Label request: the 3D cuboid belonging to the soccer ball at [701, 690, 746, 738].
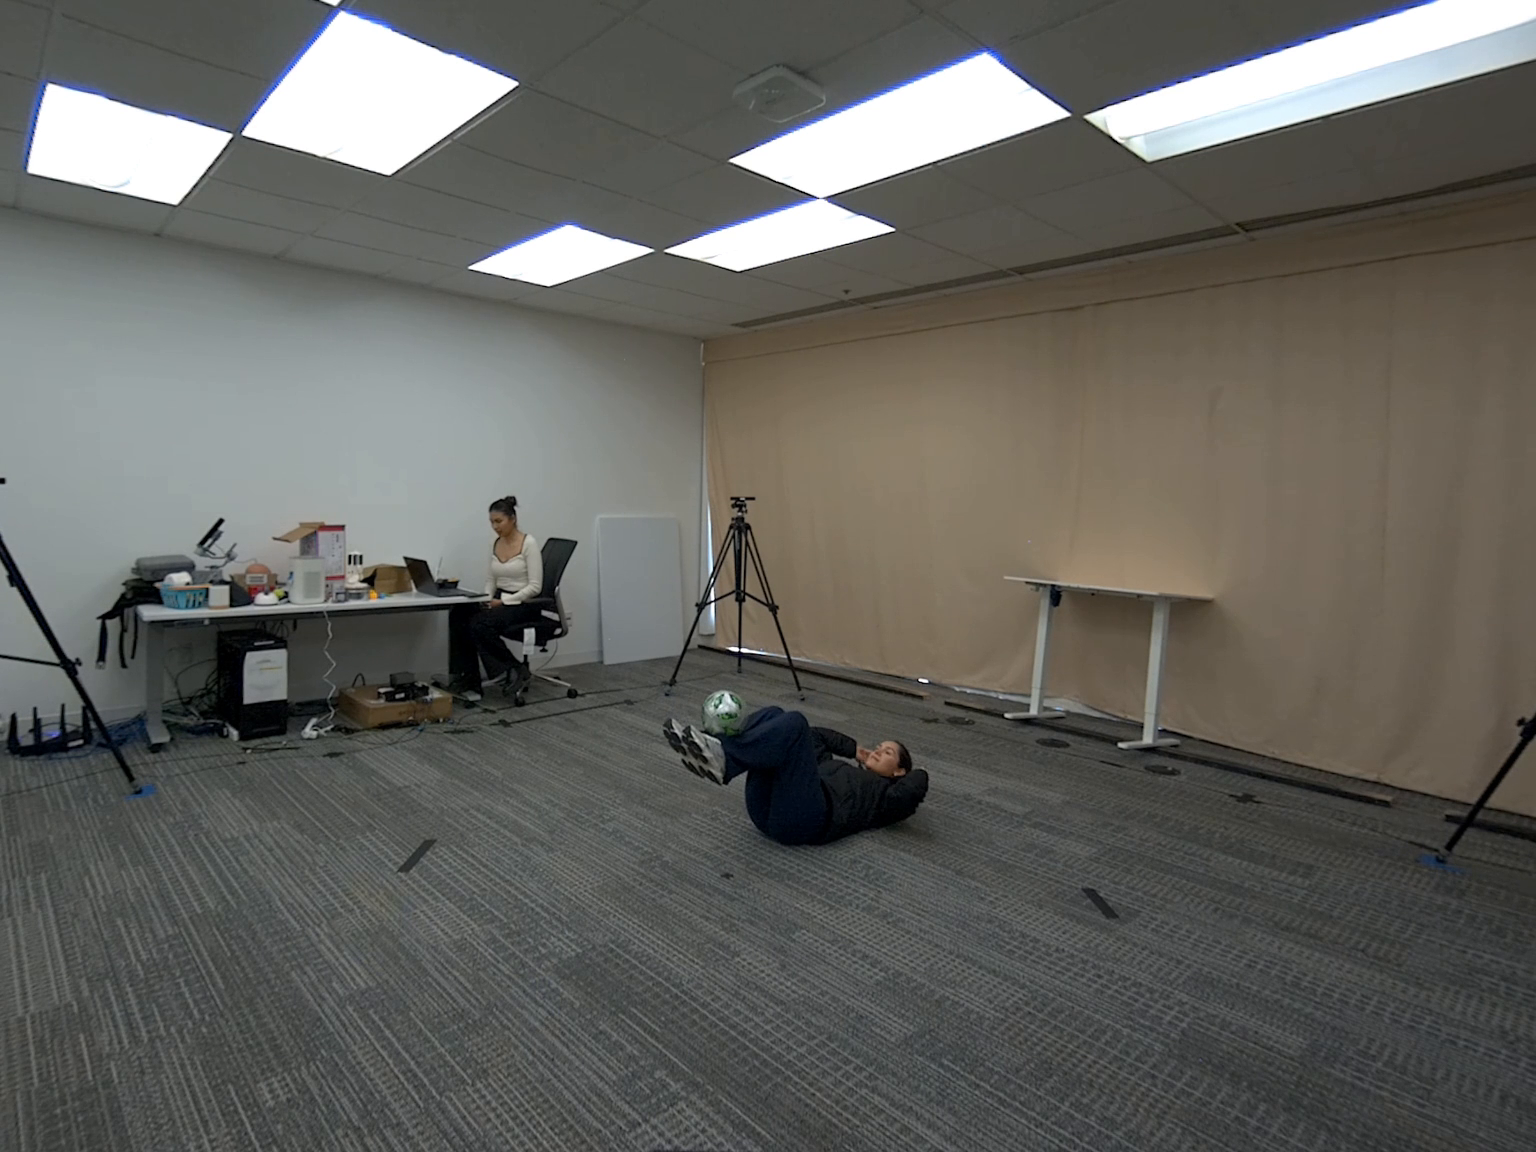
[{"bbox_3d":[-0.173,0.536,3.254,0.187,0.186,0.188,0,7,-1],"label":"soccer ball"}]
